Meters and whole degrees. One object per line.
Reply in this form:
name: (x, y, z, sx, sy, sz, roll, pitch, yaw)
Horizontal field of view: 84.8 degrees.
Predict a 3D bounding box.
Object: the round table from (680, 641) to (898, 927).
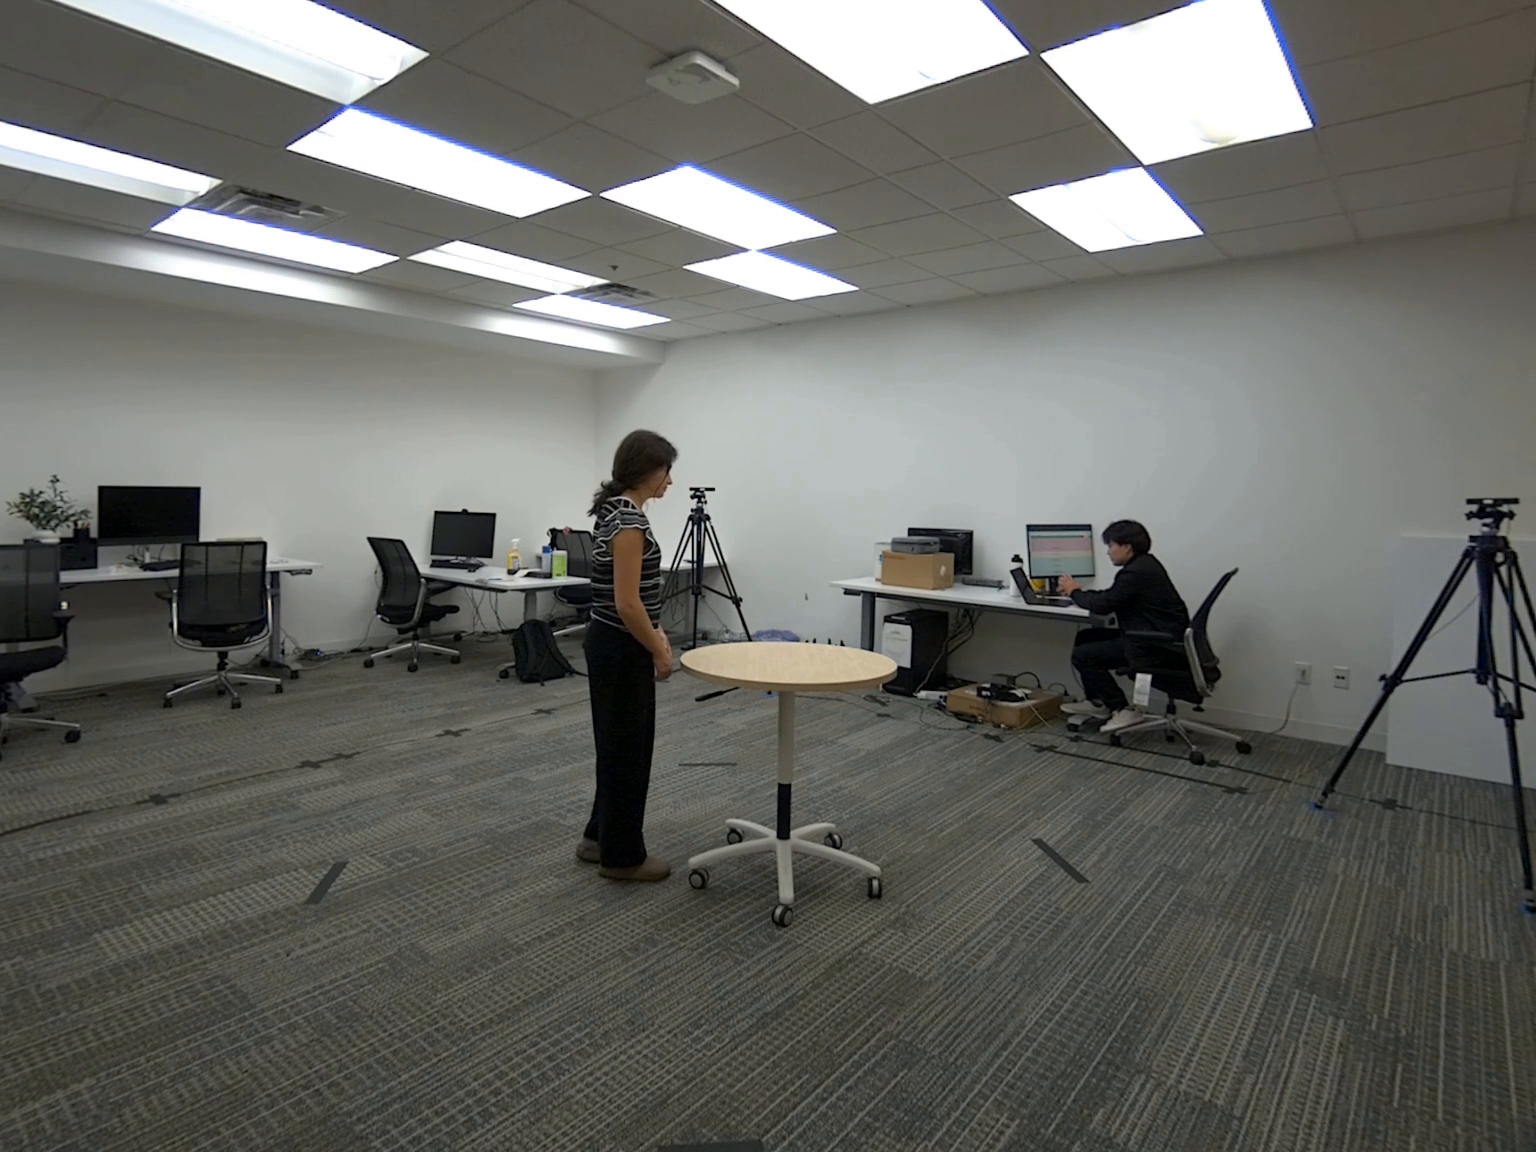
round table: (0.042, 0.686, 3.039, 0.784, 0.784, 0.788, 1, 4, -2)
